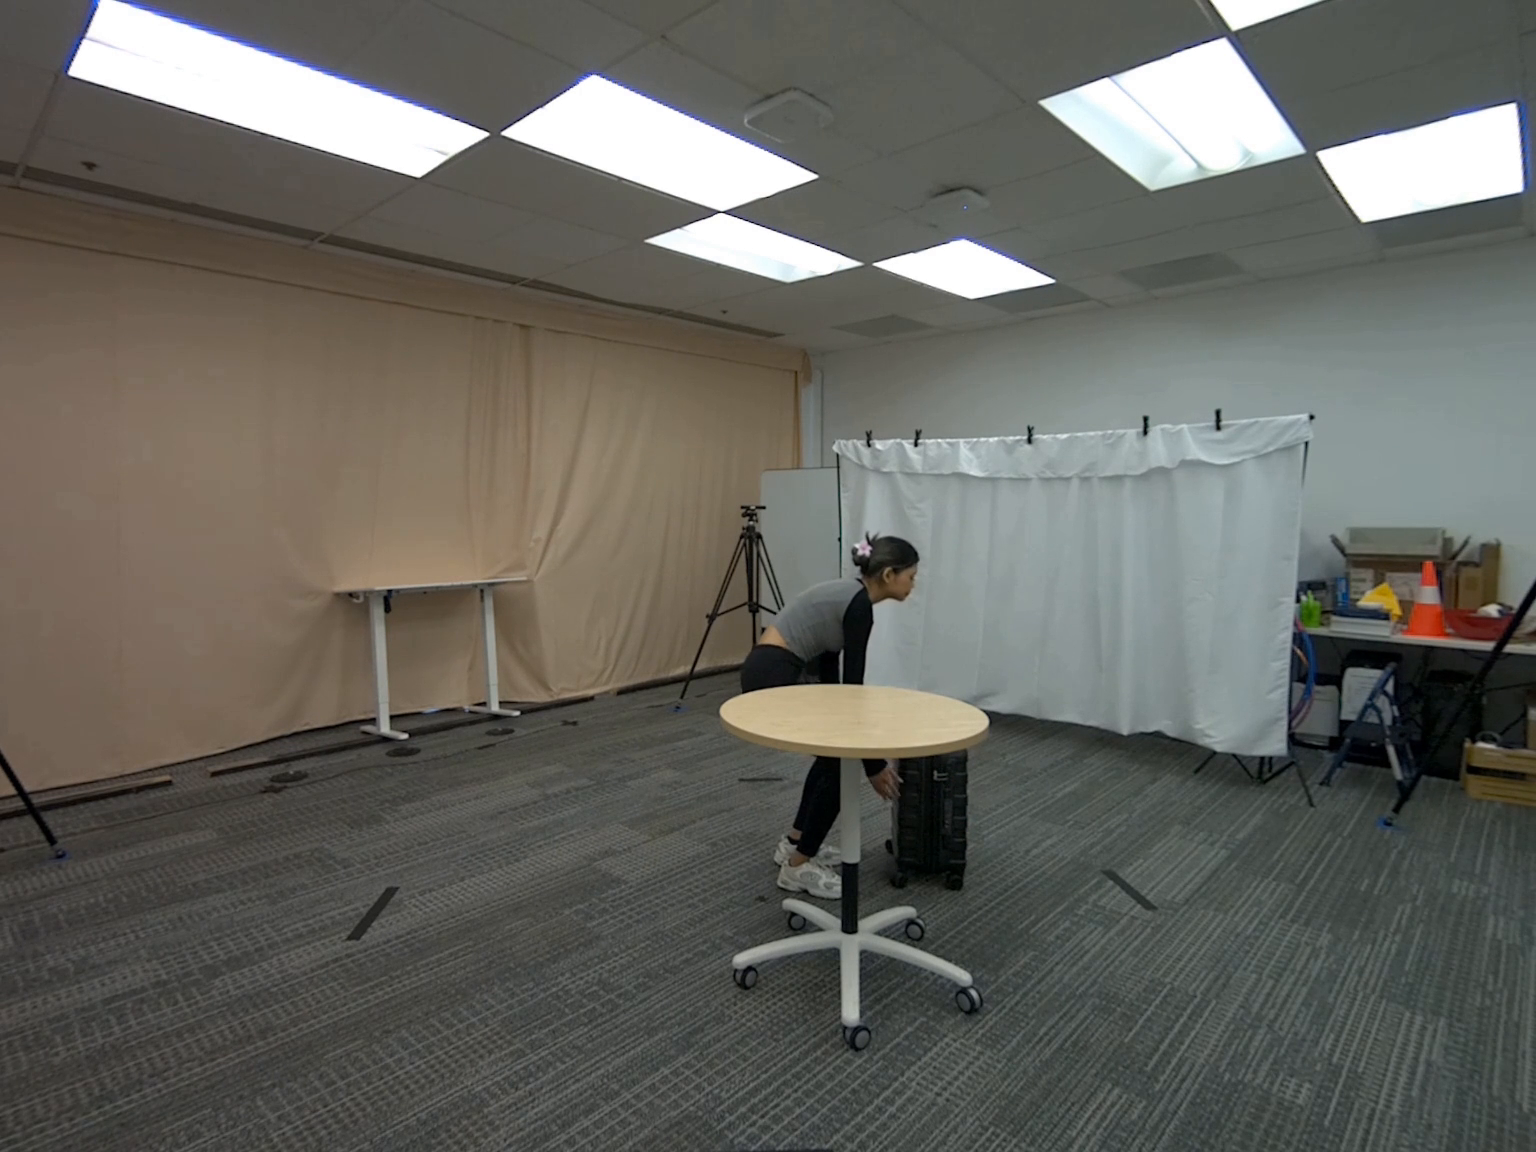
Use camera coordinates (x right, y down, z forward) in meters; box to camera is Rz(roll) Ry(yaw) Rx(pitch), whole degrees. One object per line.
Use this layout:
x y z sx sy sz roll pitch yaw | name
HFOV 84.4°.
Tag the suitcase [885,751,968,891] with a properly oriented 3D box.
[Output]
0.611 0.849 3.198 0.250 0.548 0.373 2 4 6 | suitcase
